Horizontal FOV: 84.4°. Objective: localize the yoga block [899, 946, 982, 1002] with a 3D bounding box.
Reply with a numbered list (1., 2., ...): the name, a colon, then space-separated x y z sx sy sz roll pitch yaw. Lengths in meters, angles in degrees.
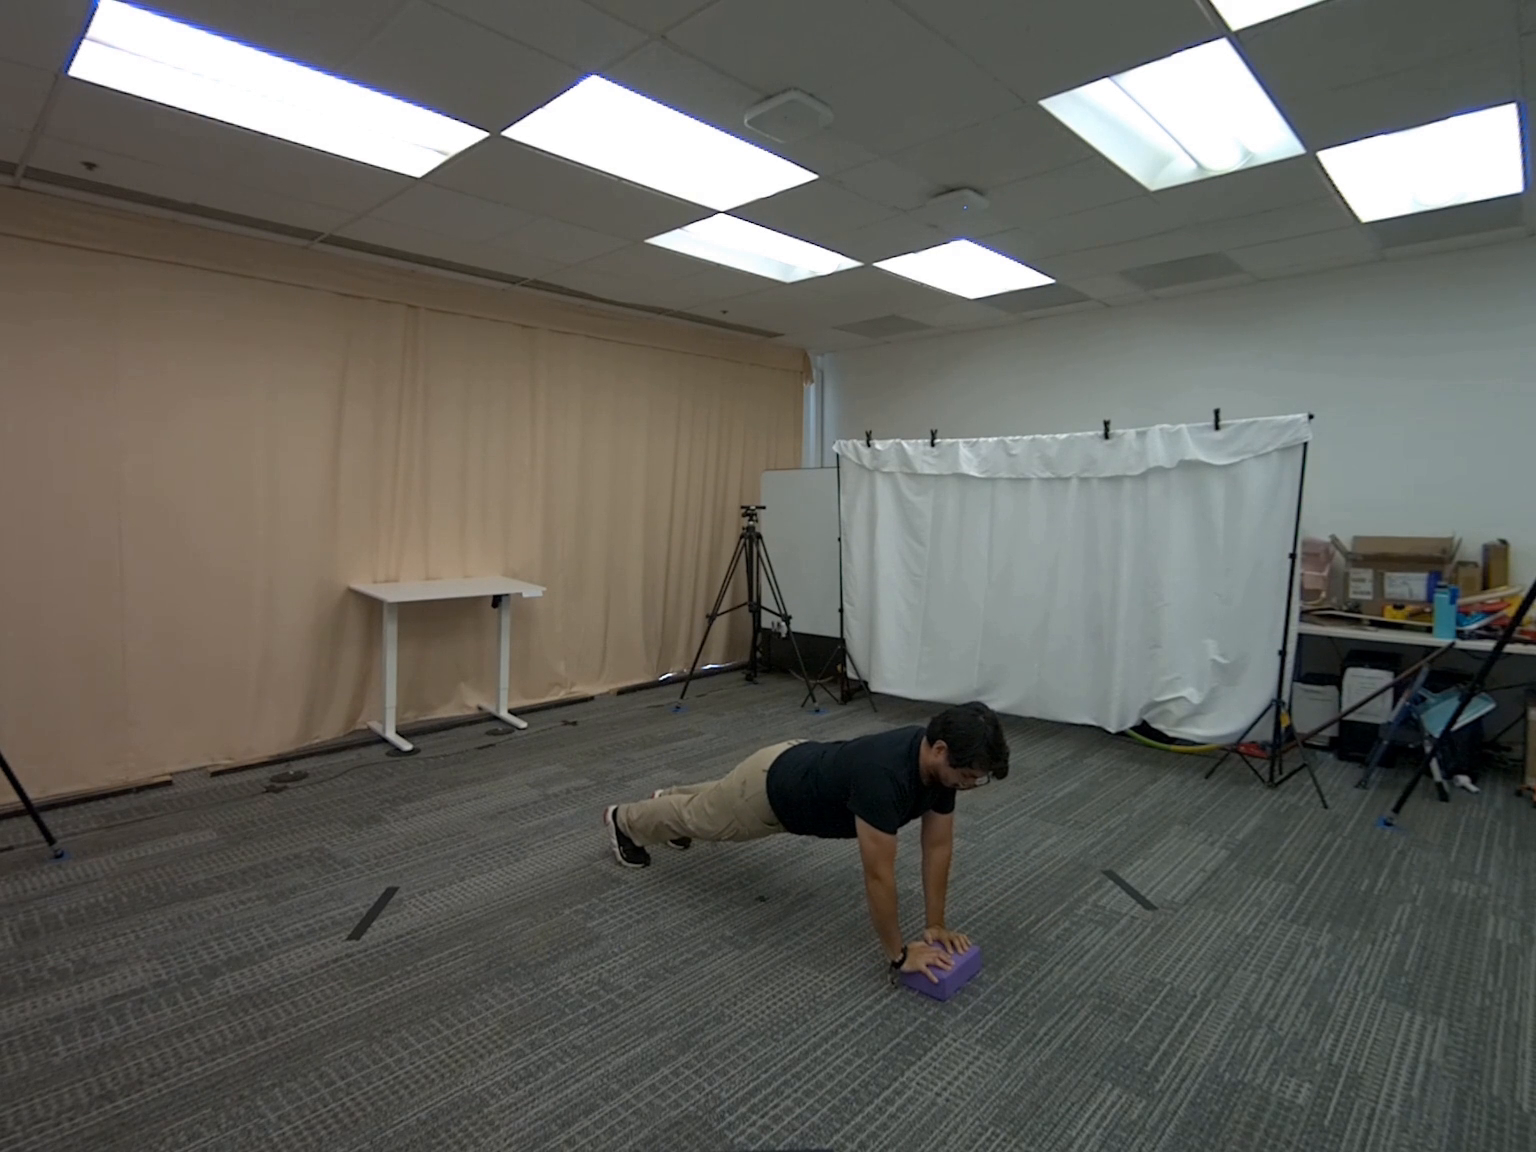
1. yoga block: 0.516 1.151 2.478 0.154 0.076 0.222 6 8 41
